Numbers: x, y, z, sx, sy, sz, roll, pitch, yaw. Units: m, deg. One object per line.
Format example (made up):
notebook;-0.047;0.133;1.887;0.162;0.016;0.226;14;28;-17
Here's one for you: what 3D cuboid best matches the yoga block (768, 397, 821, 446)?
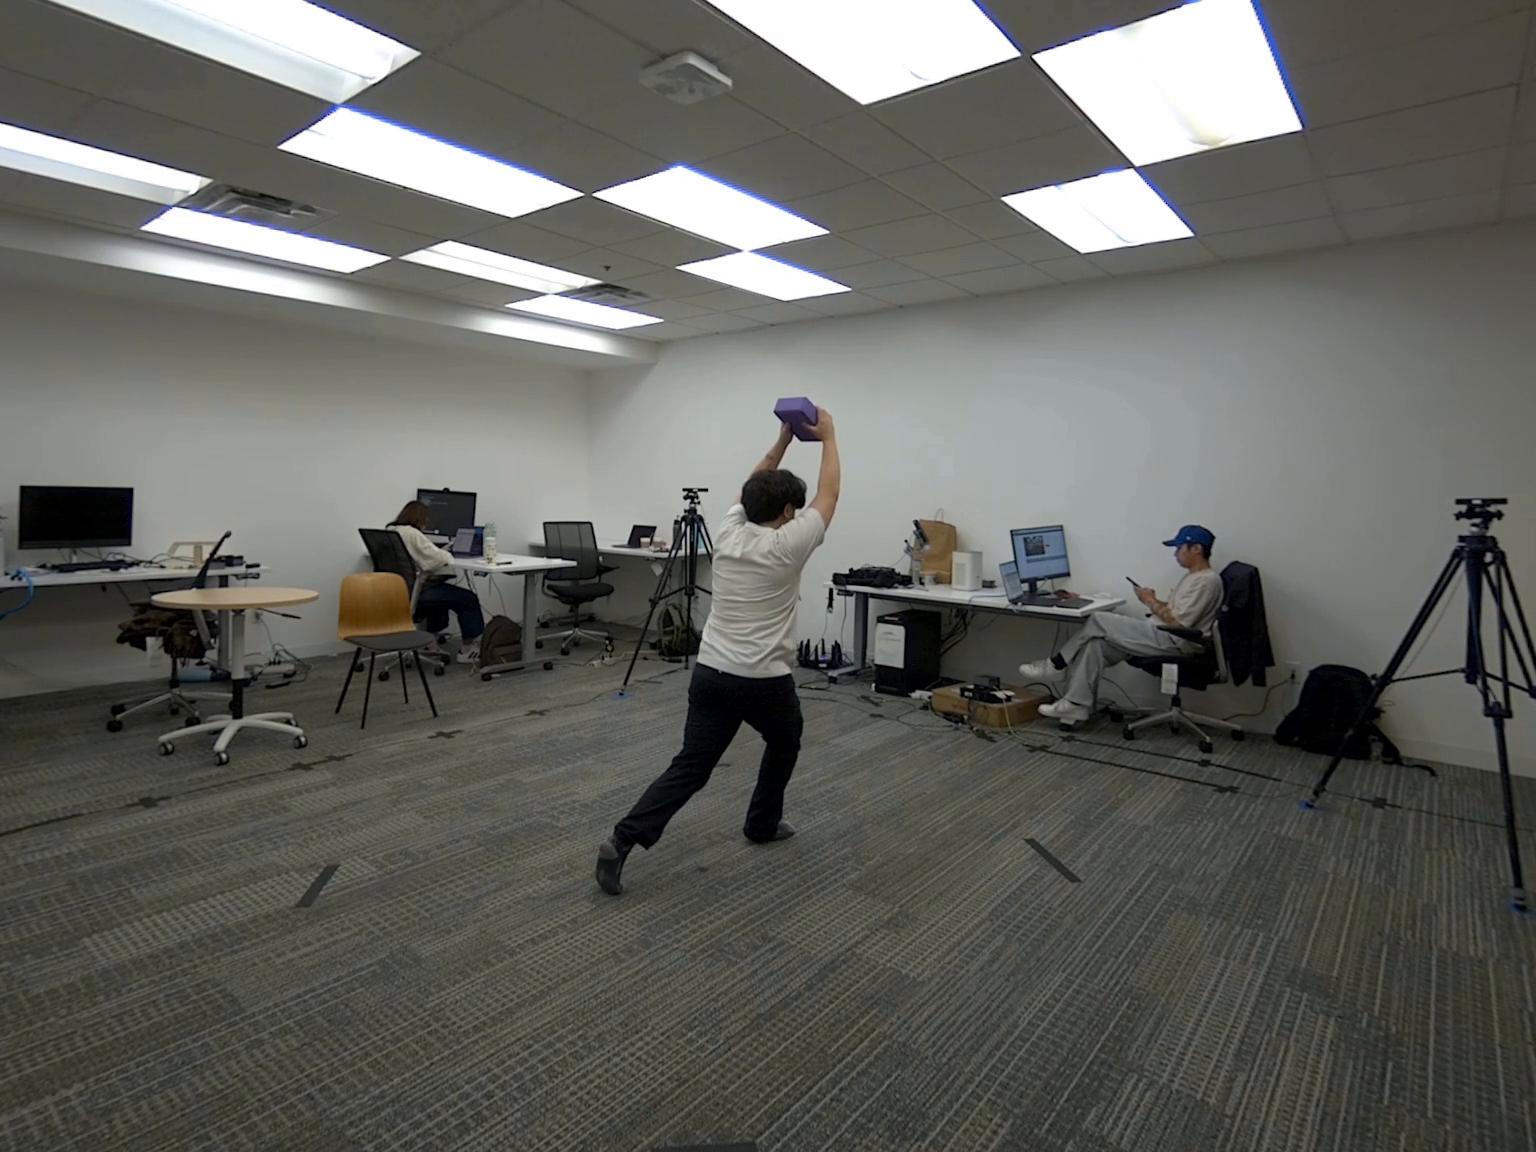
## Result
yoga block;0.133;-0.635;3.460;0.154;0.077;0.220;6;-23;40
